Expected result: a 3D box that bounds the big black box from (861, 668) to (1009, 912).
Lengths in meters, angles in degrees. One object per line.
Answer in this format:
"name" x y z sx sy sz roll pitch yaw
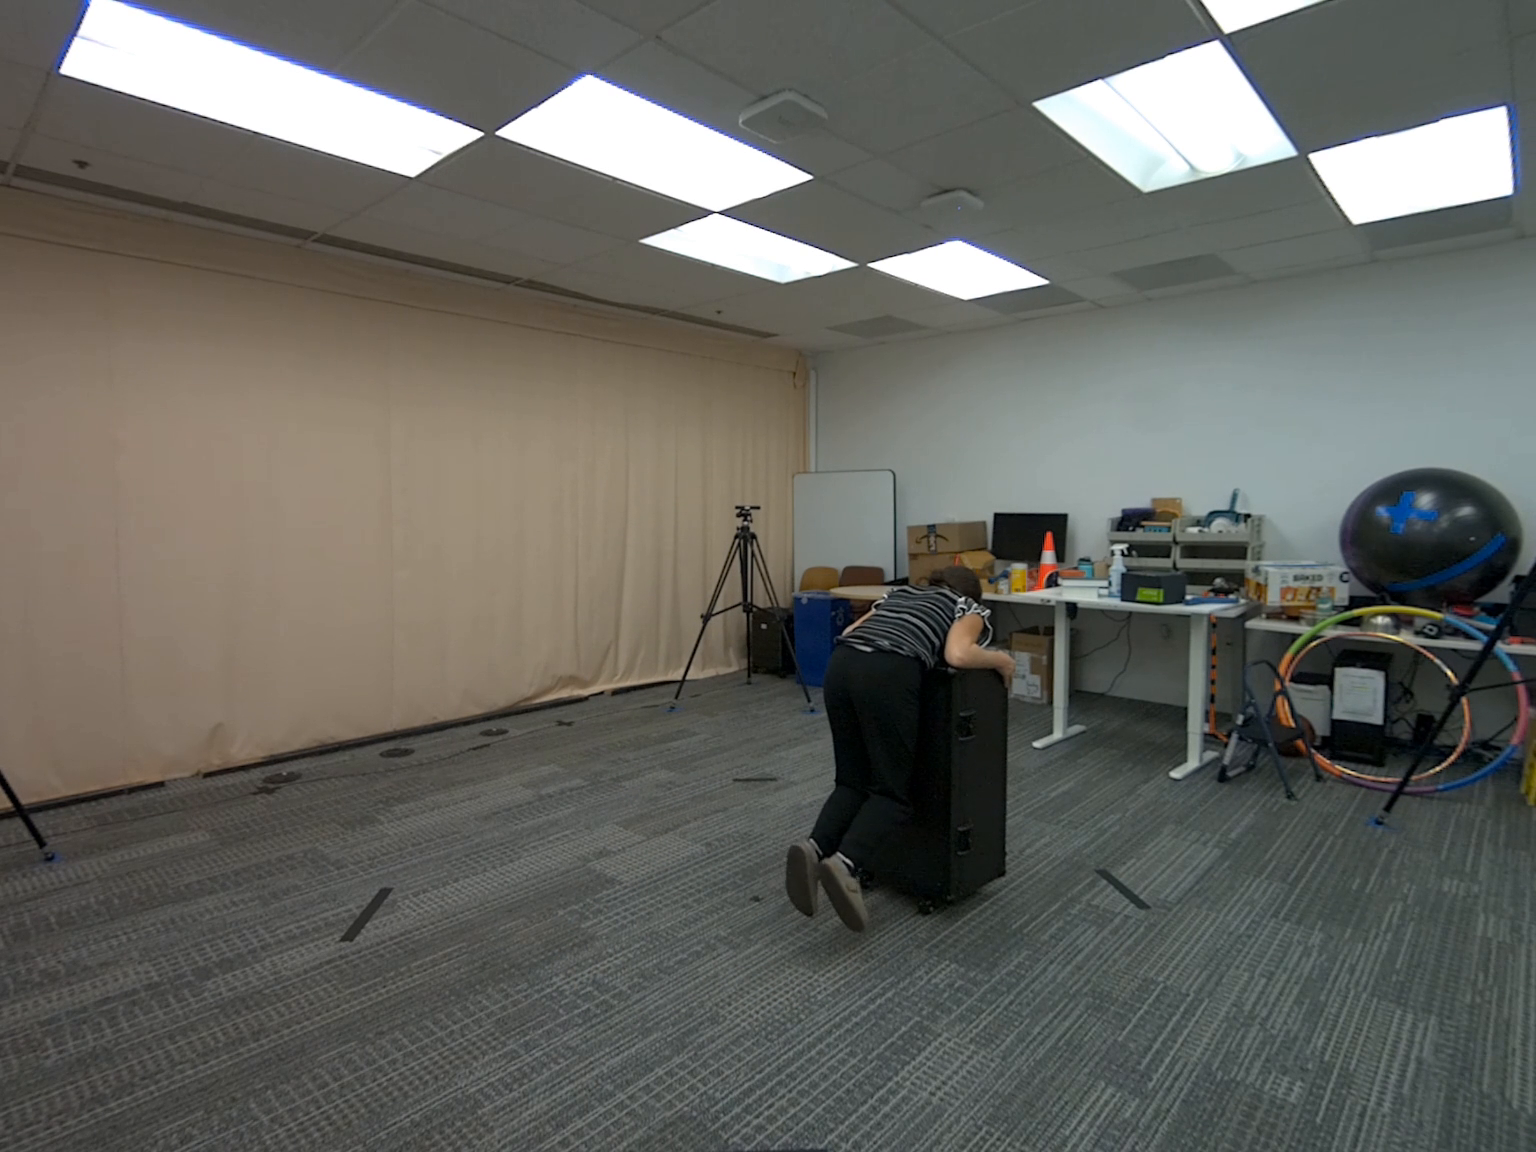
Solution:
"big black box" 0.567 0.722 3.072 0.384 0.860 0.538 -1 3 -43
